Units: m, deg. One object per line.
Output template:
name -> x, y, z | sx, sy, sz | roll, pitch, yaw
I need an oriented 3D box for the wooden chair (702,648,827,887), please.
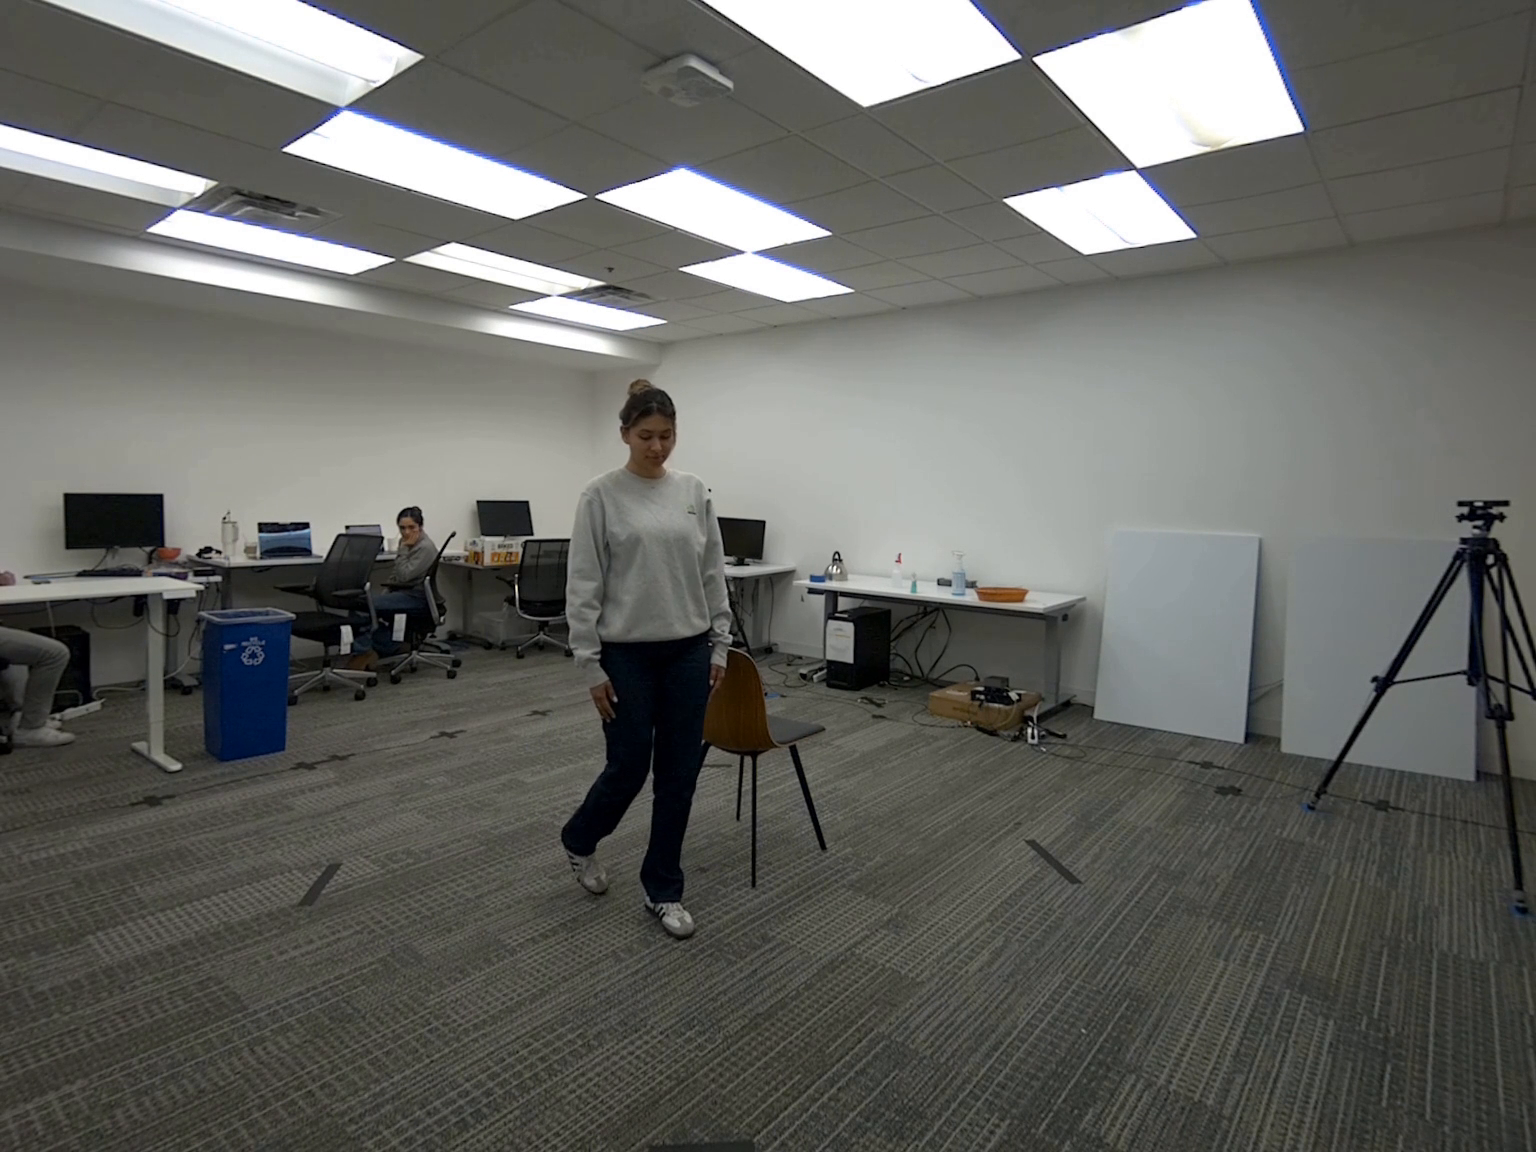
wooden chair -> -0.082, 0.634, 3.272 | 0.494, 0.872, 0.509 | 3, 8, 39
